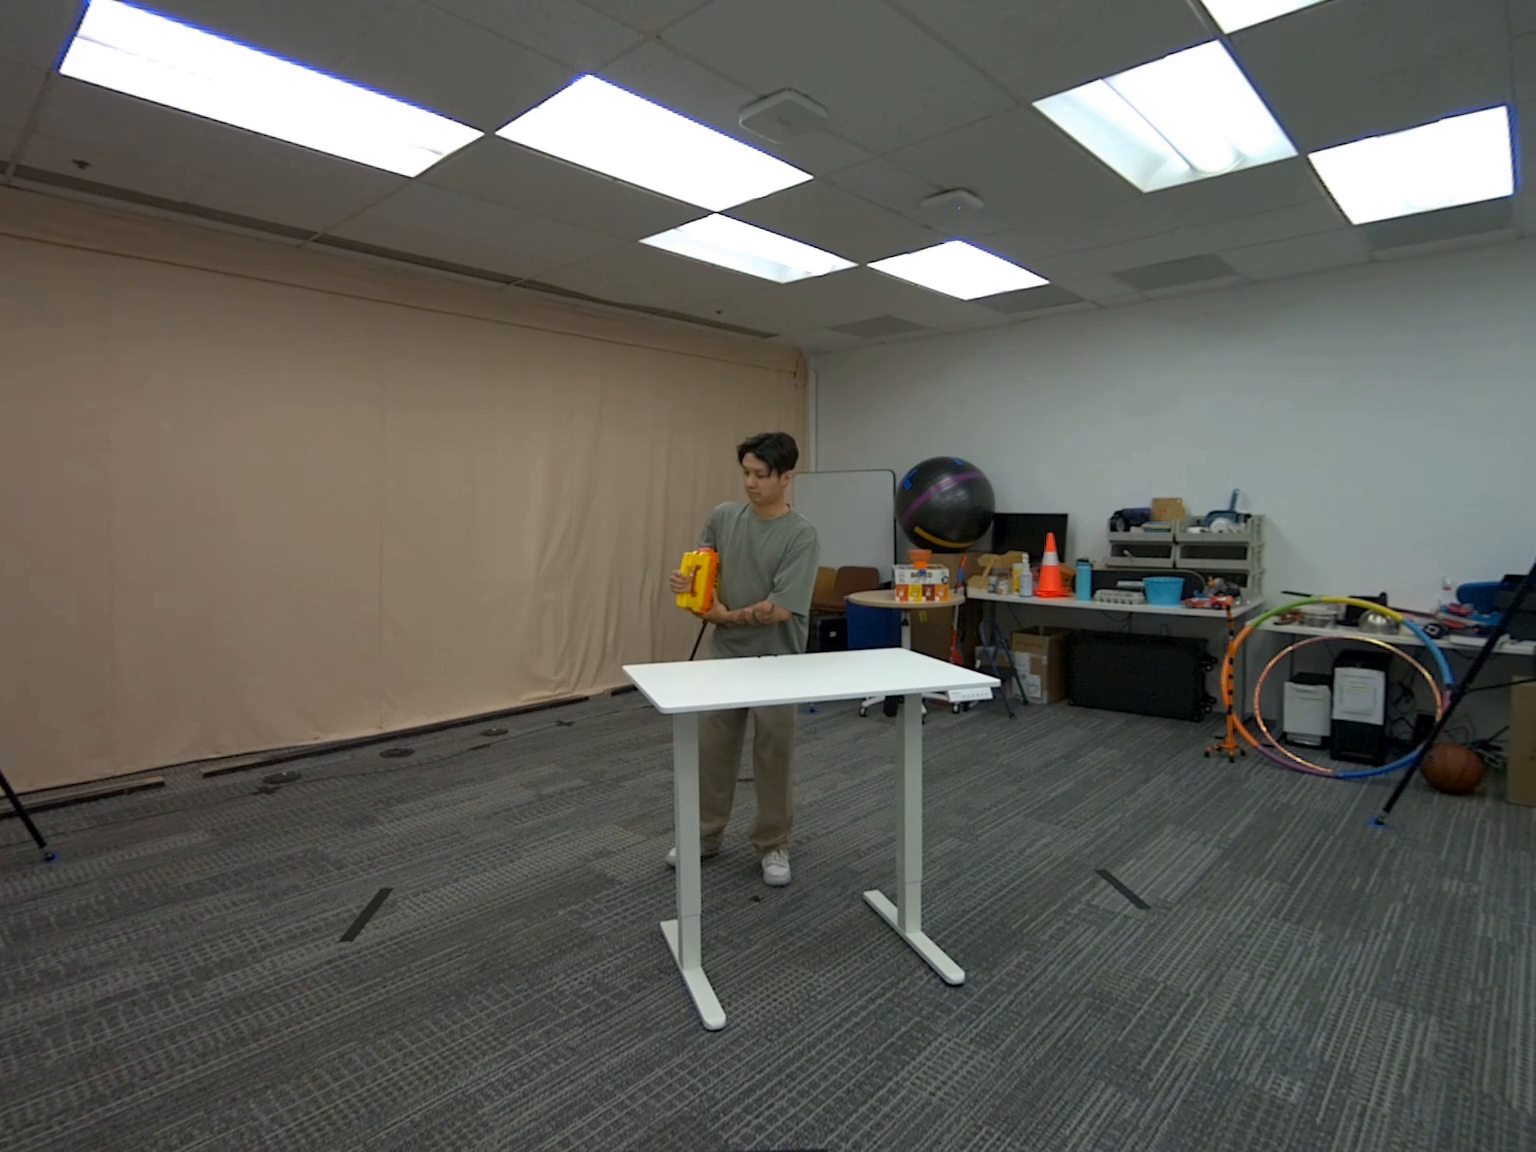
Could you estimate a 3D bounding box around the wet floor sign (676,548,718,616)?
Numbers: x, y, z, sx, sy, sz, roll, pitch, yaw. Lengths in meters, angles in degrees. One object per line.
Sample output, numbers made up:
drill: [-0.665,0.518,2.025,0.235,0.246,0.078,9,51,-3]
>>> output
wet floor sign: [-0.167,0.047,3.320,0.298,0.282,0.627,12,1,28]
